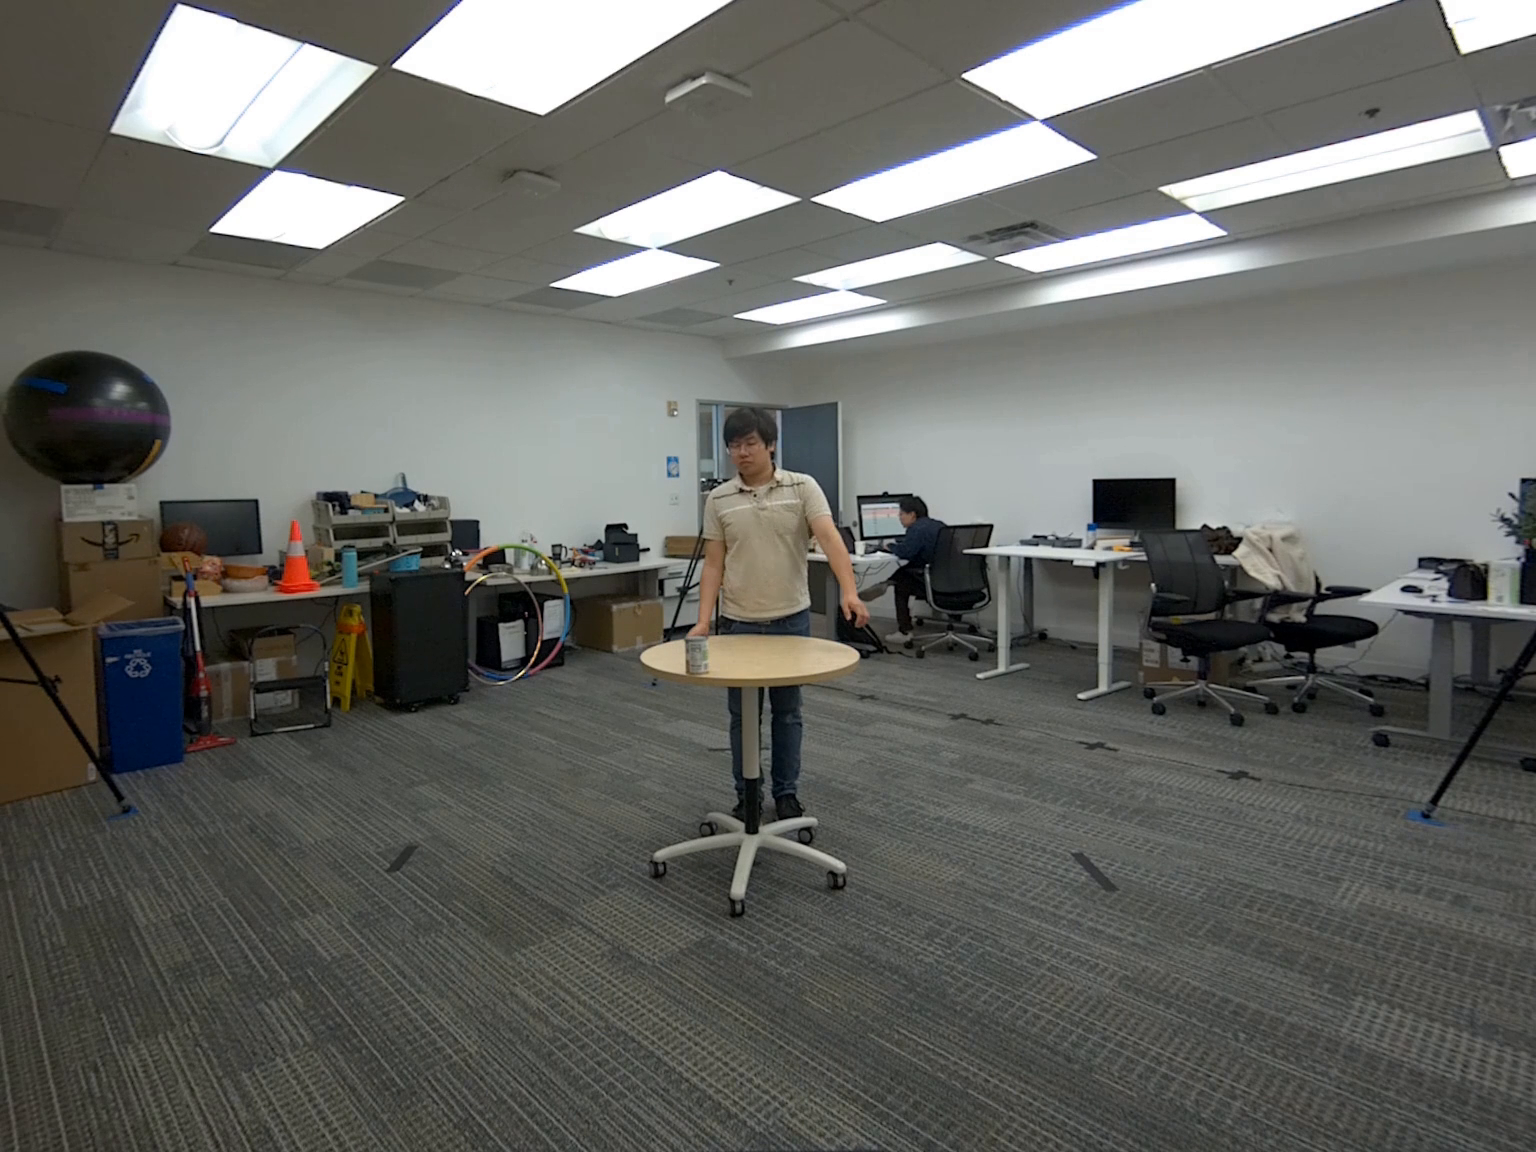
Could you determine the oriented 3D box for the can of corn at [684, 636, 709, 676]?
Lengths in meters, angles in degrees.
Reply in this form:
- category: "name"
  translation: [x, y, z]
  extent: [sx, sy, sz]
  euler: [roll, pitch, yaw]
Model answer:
- category: "can of corn"
  translation: [-0.232, 0.256, 2.701]
  extent: [0.074, 0.111, 0.074]
  euler: [-5, 1, -2]
